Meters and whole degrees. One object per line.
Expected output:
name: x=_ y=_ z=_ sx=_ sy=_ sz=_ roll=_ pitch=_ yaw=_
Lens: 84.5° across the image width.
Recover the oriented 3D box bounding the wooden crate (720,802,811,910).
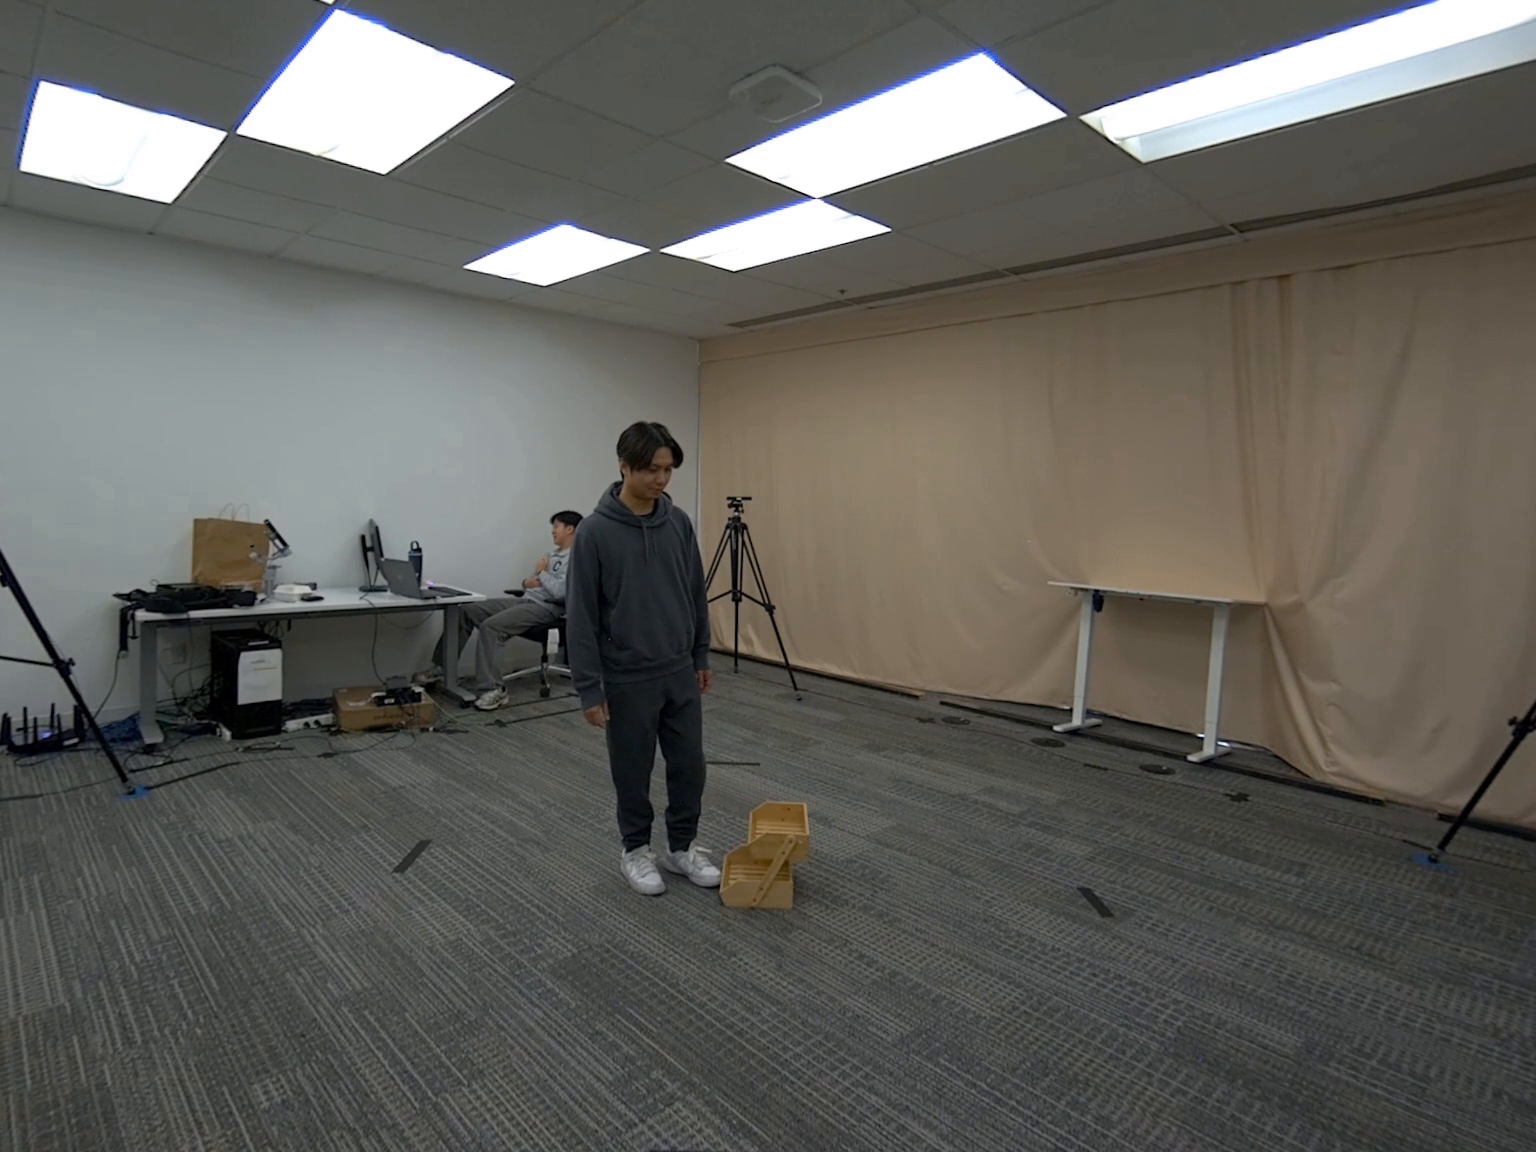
wooden crate: x=-0.028 y=0.989 z=3.005 sx=0.302 sy=0.272 sz=0.325 roll=1 pitch=4 yaw=1
